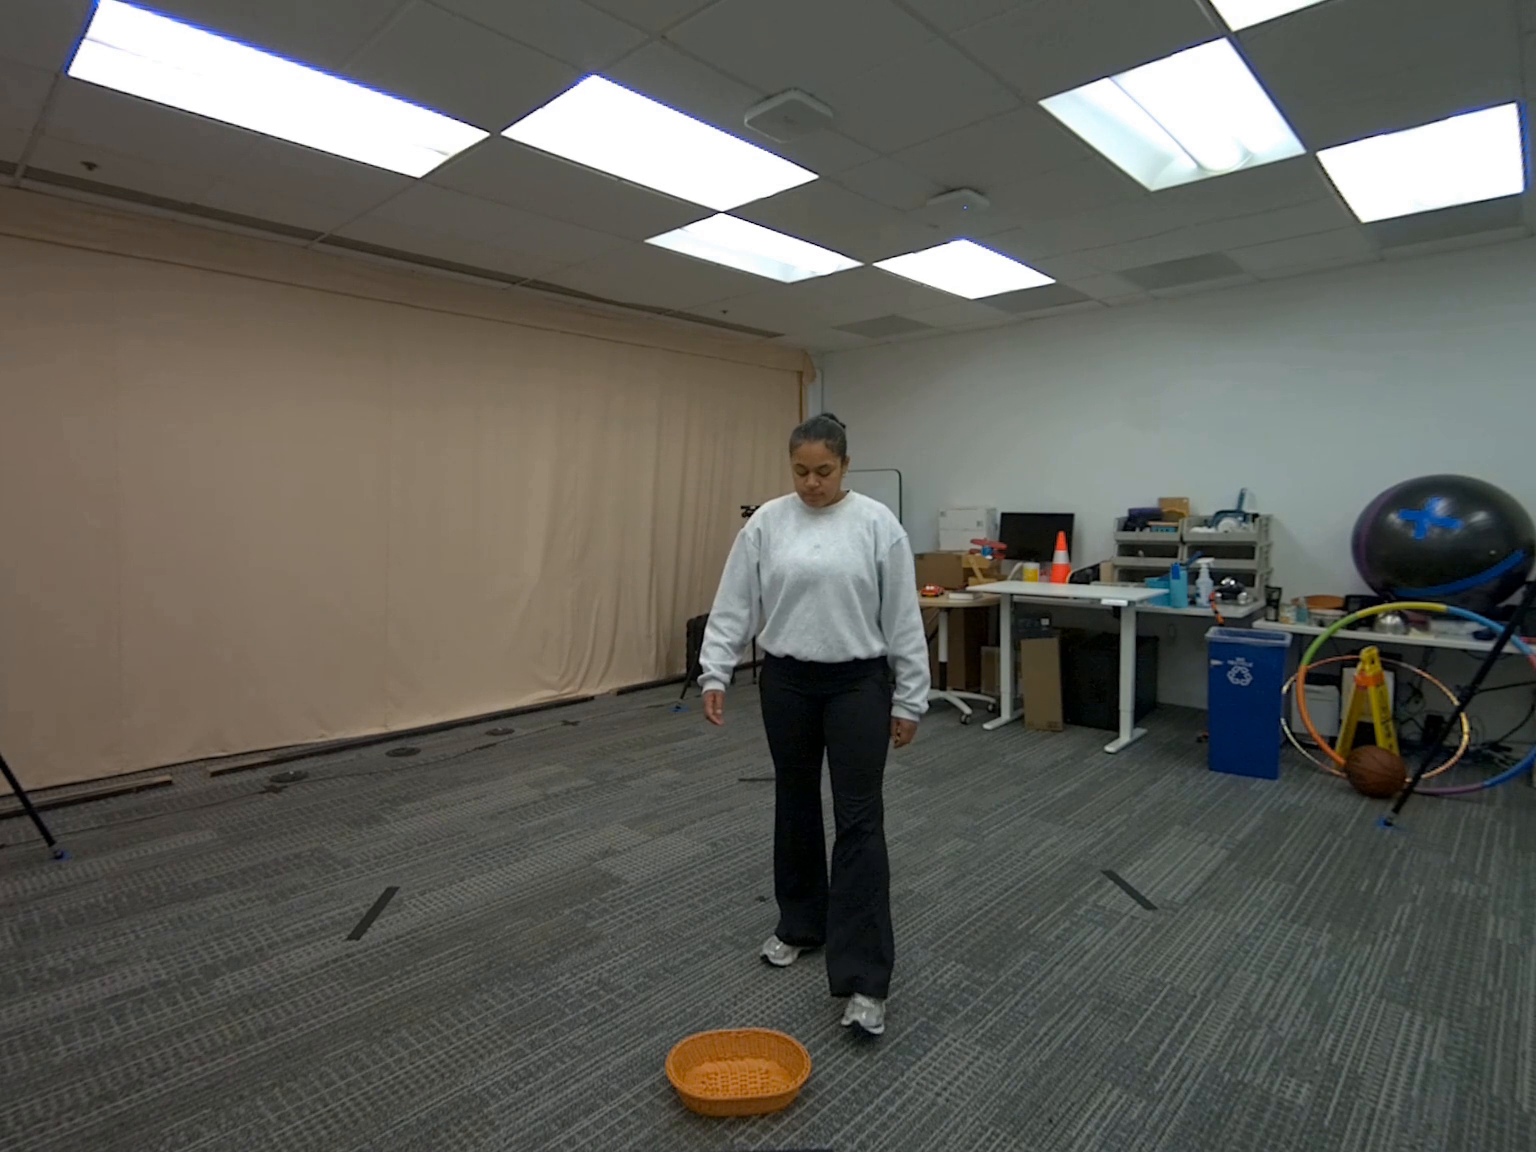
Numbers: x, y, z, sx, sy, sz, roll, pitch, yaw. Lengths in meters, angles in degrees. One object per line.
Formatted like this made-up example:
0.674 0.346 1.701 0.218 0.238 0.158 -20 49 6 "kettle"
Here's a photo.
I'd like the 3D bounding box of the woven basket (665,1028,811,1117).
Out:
-0.070 1.192 2.002 0.349 0.073 0.254 0 5 -5 "woven basket"
